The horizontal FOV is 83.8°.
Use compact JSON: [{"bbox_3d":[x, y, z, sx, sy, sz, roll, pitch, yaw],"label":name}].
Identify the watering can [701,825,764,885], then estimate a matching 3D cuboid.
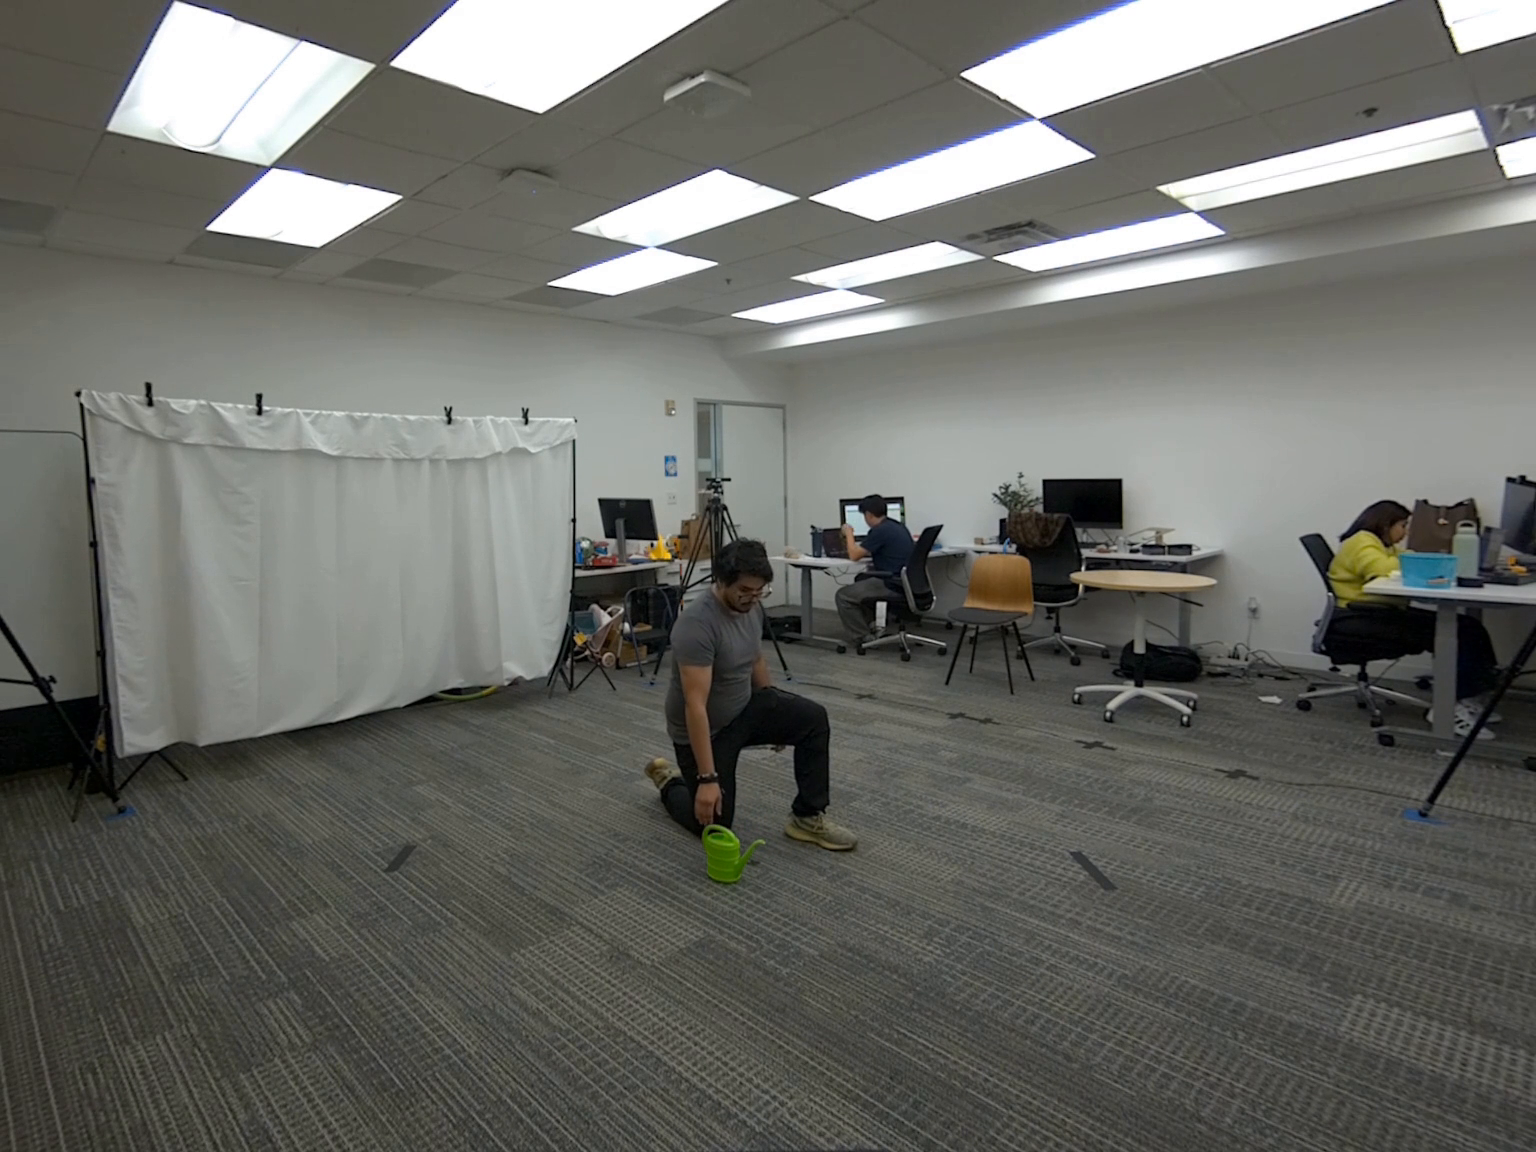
[{"bbox_3d":[-0.132,0.975,2.959,0.095,0.176,0.286,-5,7,-34],"label":"watering can"}]
